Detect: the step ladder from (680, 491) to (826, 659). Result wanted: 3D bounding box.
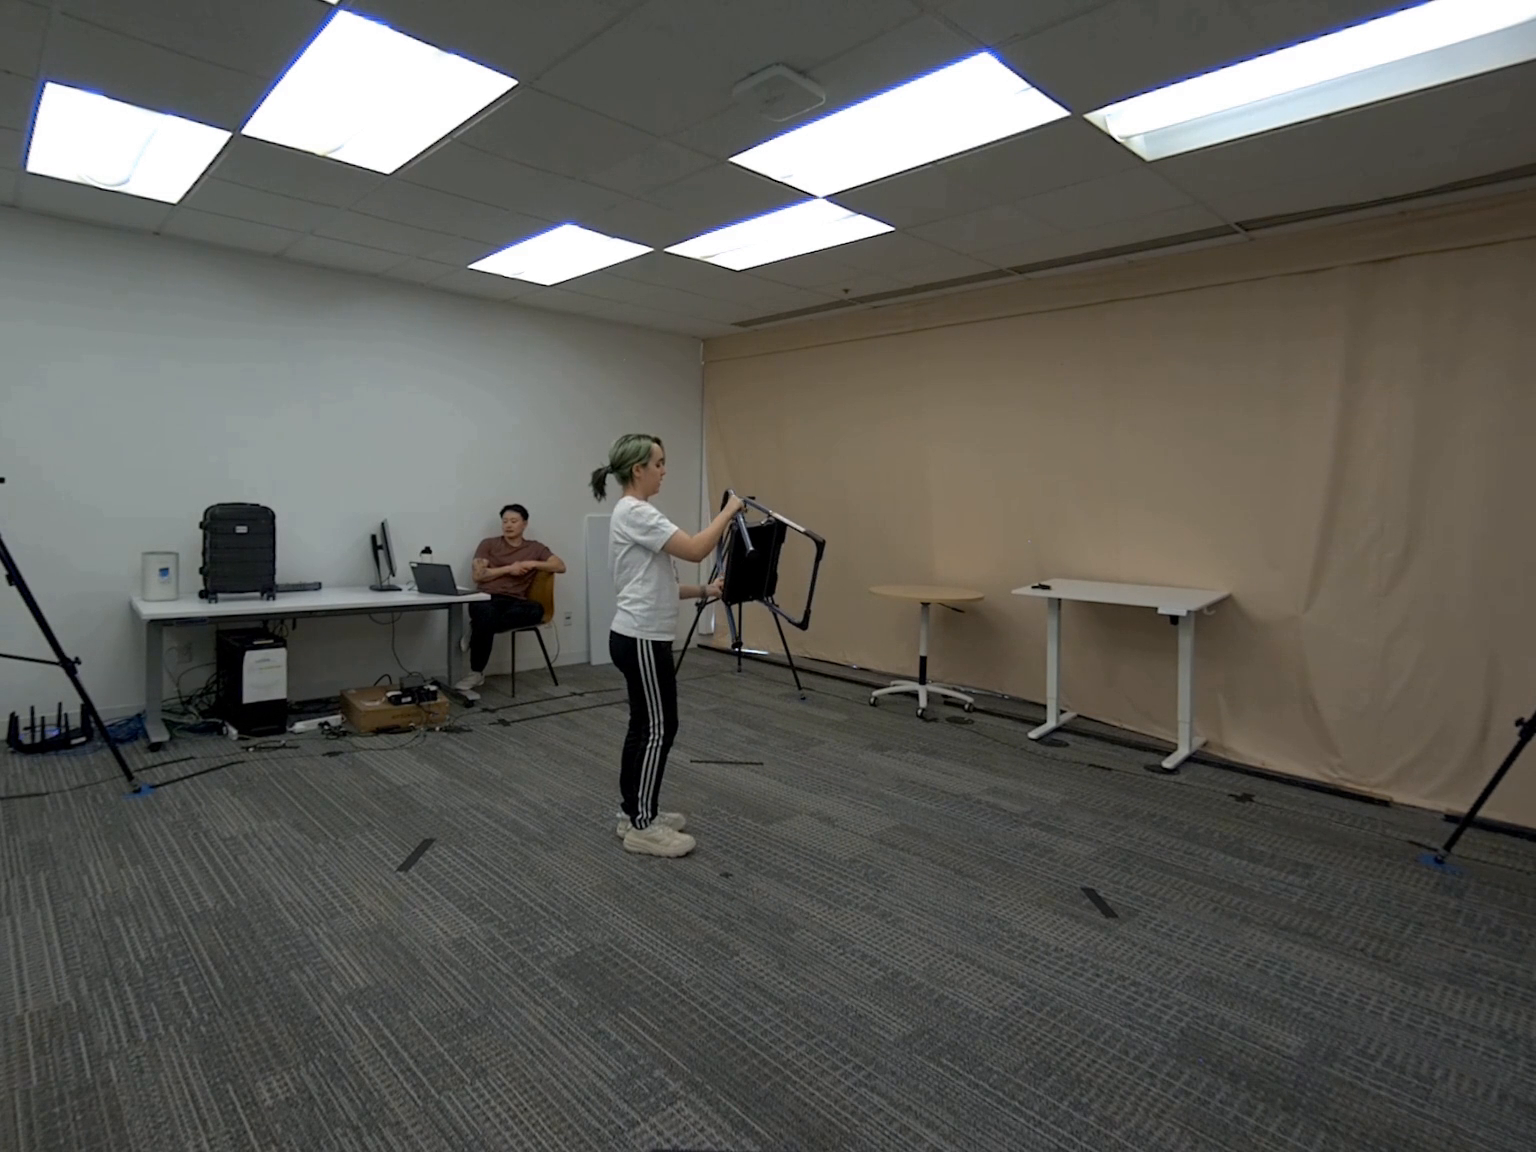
[{"bbox_3d":[-0.109,-0.084,3.375,0.343,0.424,0.626,-8,34,-30],"label":"step ladder"}]
